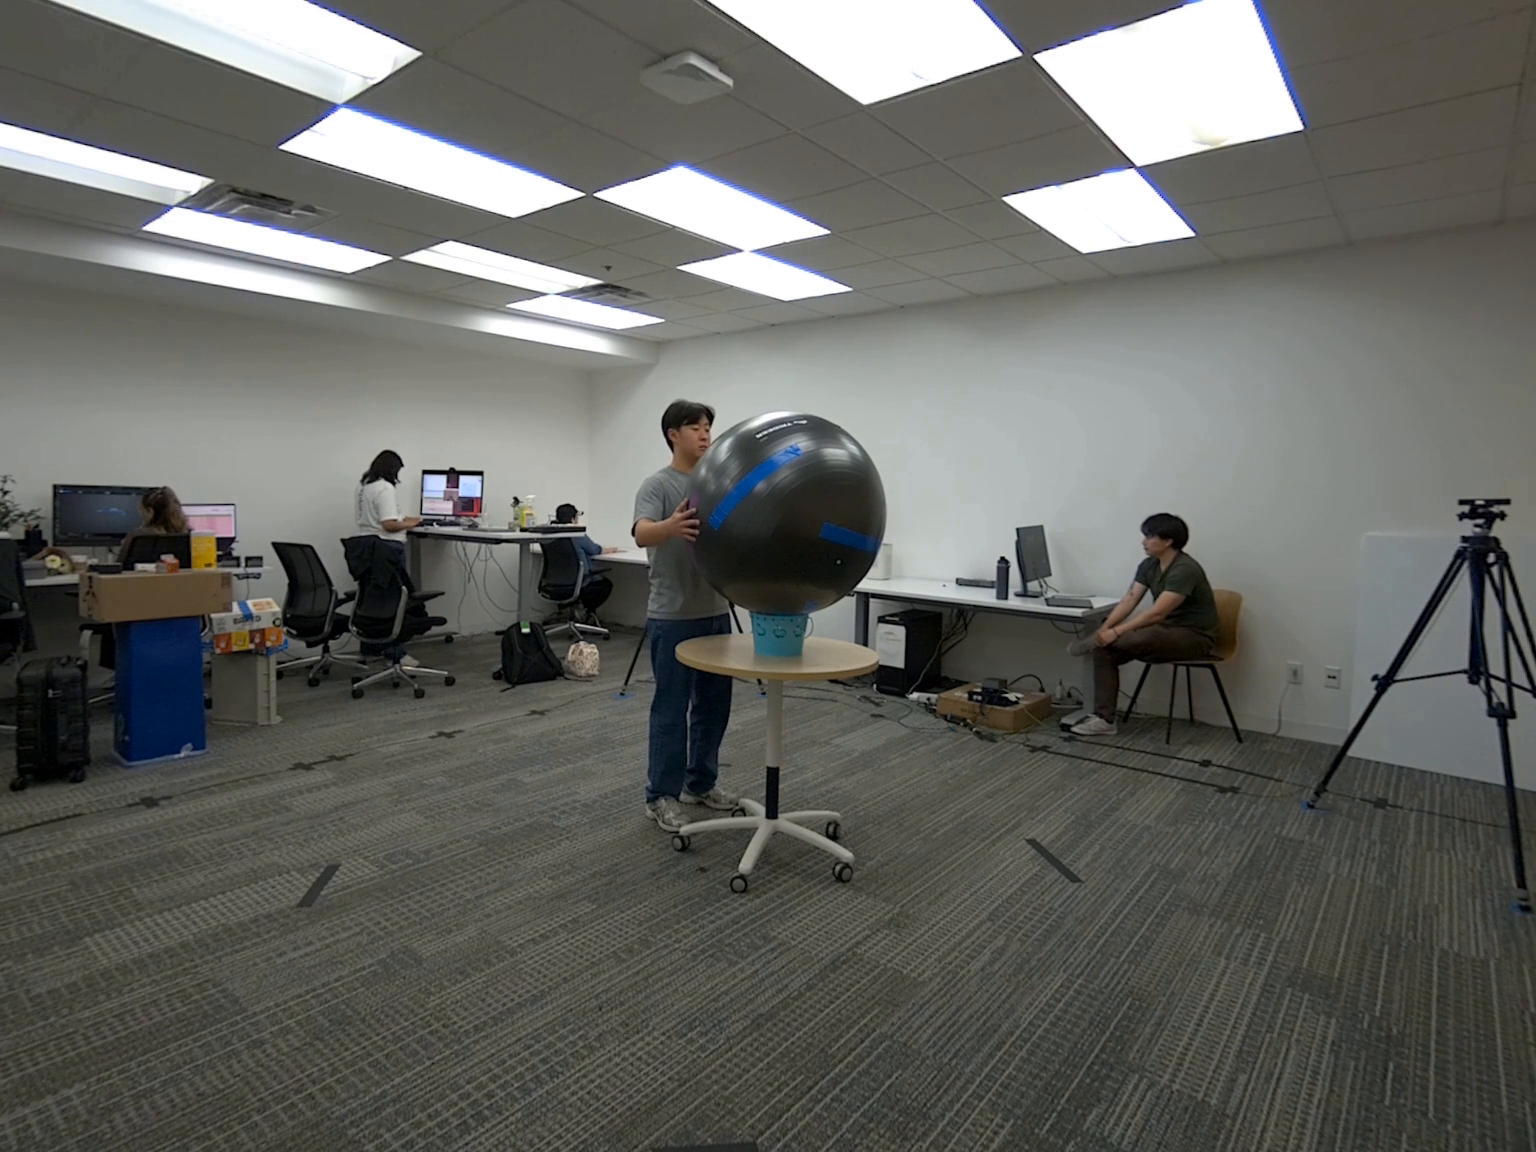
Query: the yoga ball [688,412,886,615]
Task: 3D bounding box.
[{"bbox_3d":[0.046,-0.235,3.176,0.757,0.755,0.762,1,4,-2],"label":"yoga ball"}]
